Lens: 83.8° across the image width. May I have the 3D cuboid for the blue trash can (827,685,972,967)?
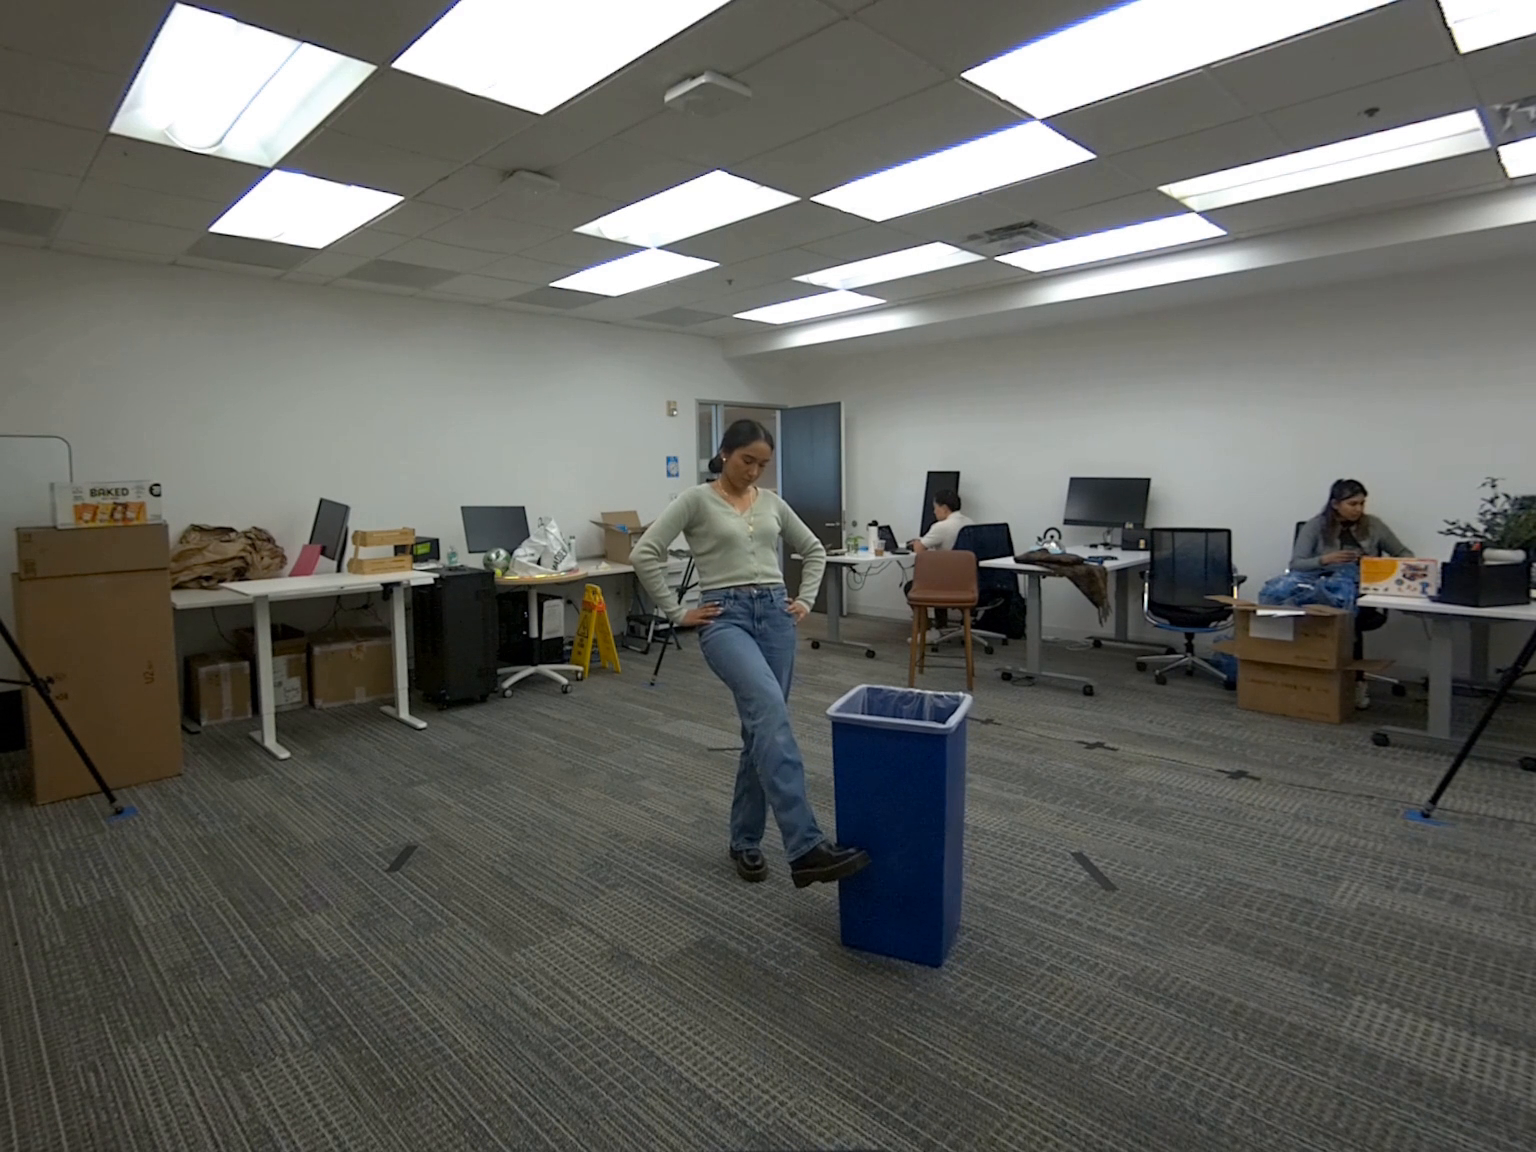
[{"bbox_3d":[0.402,0.736,2.590,0.383,0.711,0.371,1,5,25],"label":"blue trash can"}]
